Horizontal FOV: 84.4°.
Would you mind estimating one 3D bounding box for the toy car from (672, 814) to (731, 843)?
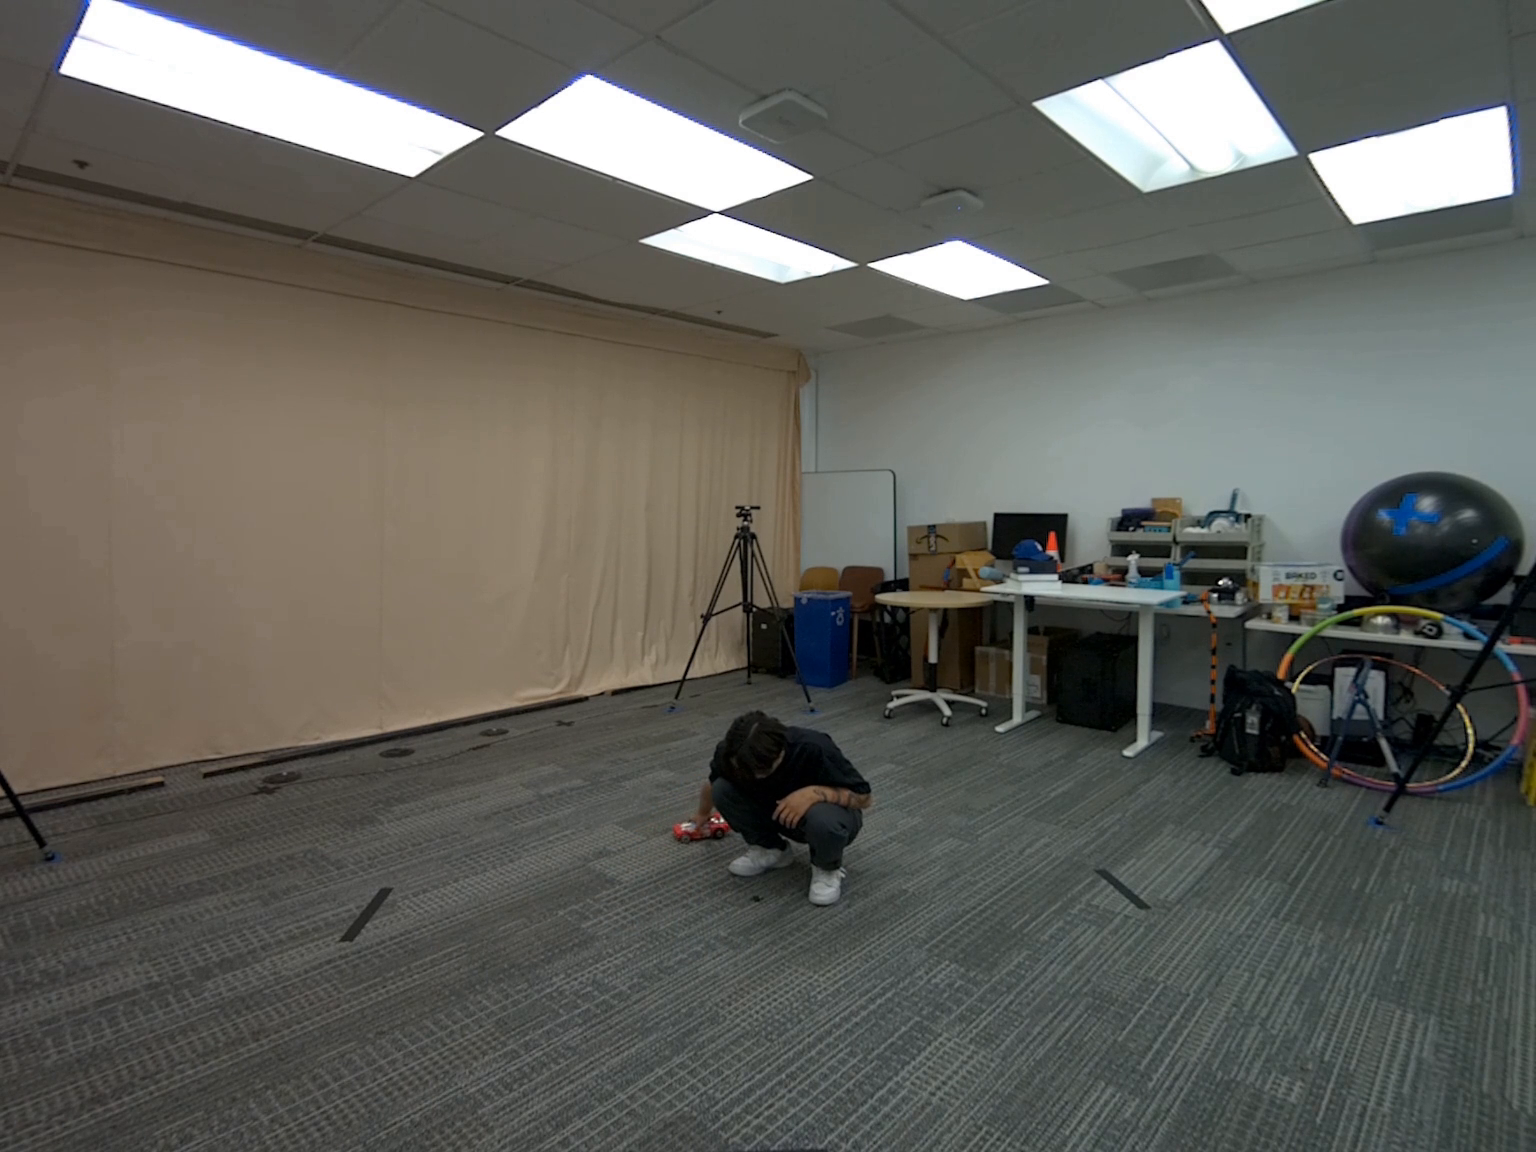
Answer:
[{"bbox_3d":[-0.276,1.067,3.552,0.251,0.083,0.133,-13,7,-17],"label":"toy car"}]
